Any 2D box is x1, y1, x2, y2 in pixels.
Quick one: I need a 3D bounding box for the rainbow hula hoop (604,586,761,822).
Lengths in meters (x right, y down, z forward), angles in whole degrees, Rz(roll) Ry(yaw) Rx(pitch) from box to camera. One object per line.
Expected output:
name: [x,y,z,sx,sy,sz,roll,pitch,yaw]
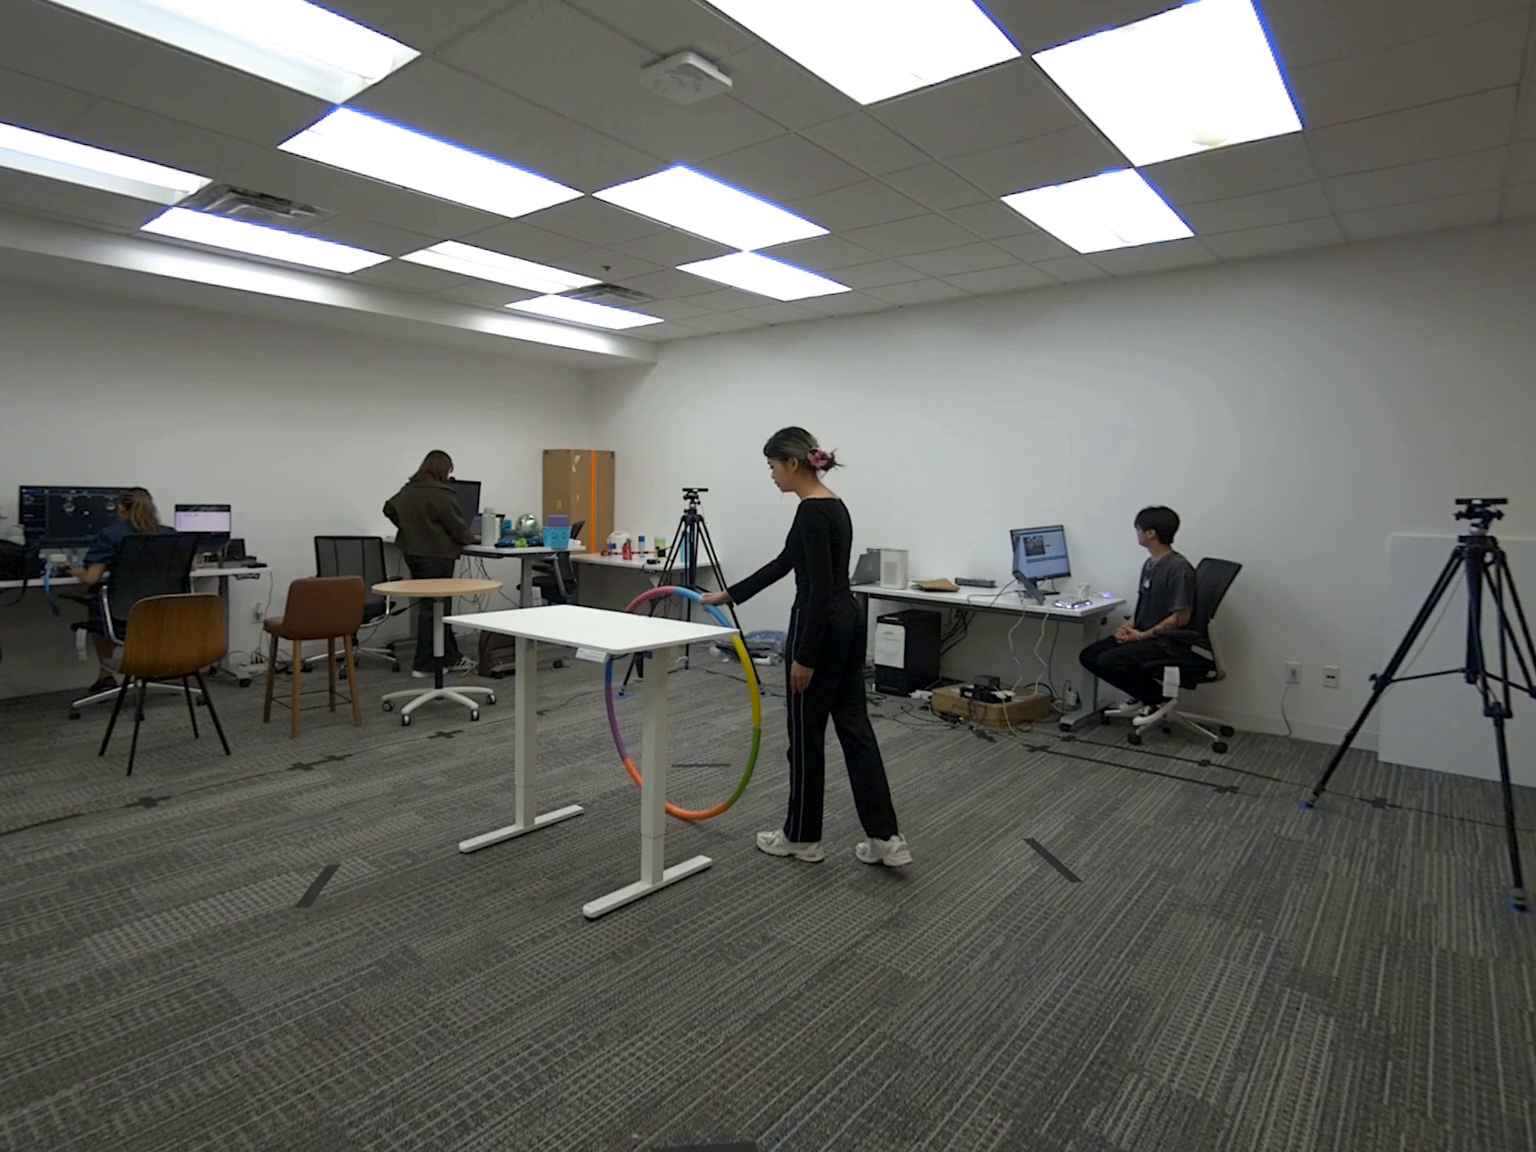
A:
rainbow hula hoop: [-0.403,0.533,3.610,1.012,0.976,0.034,5,5,44]
